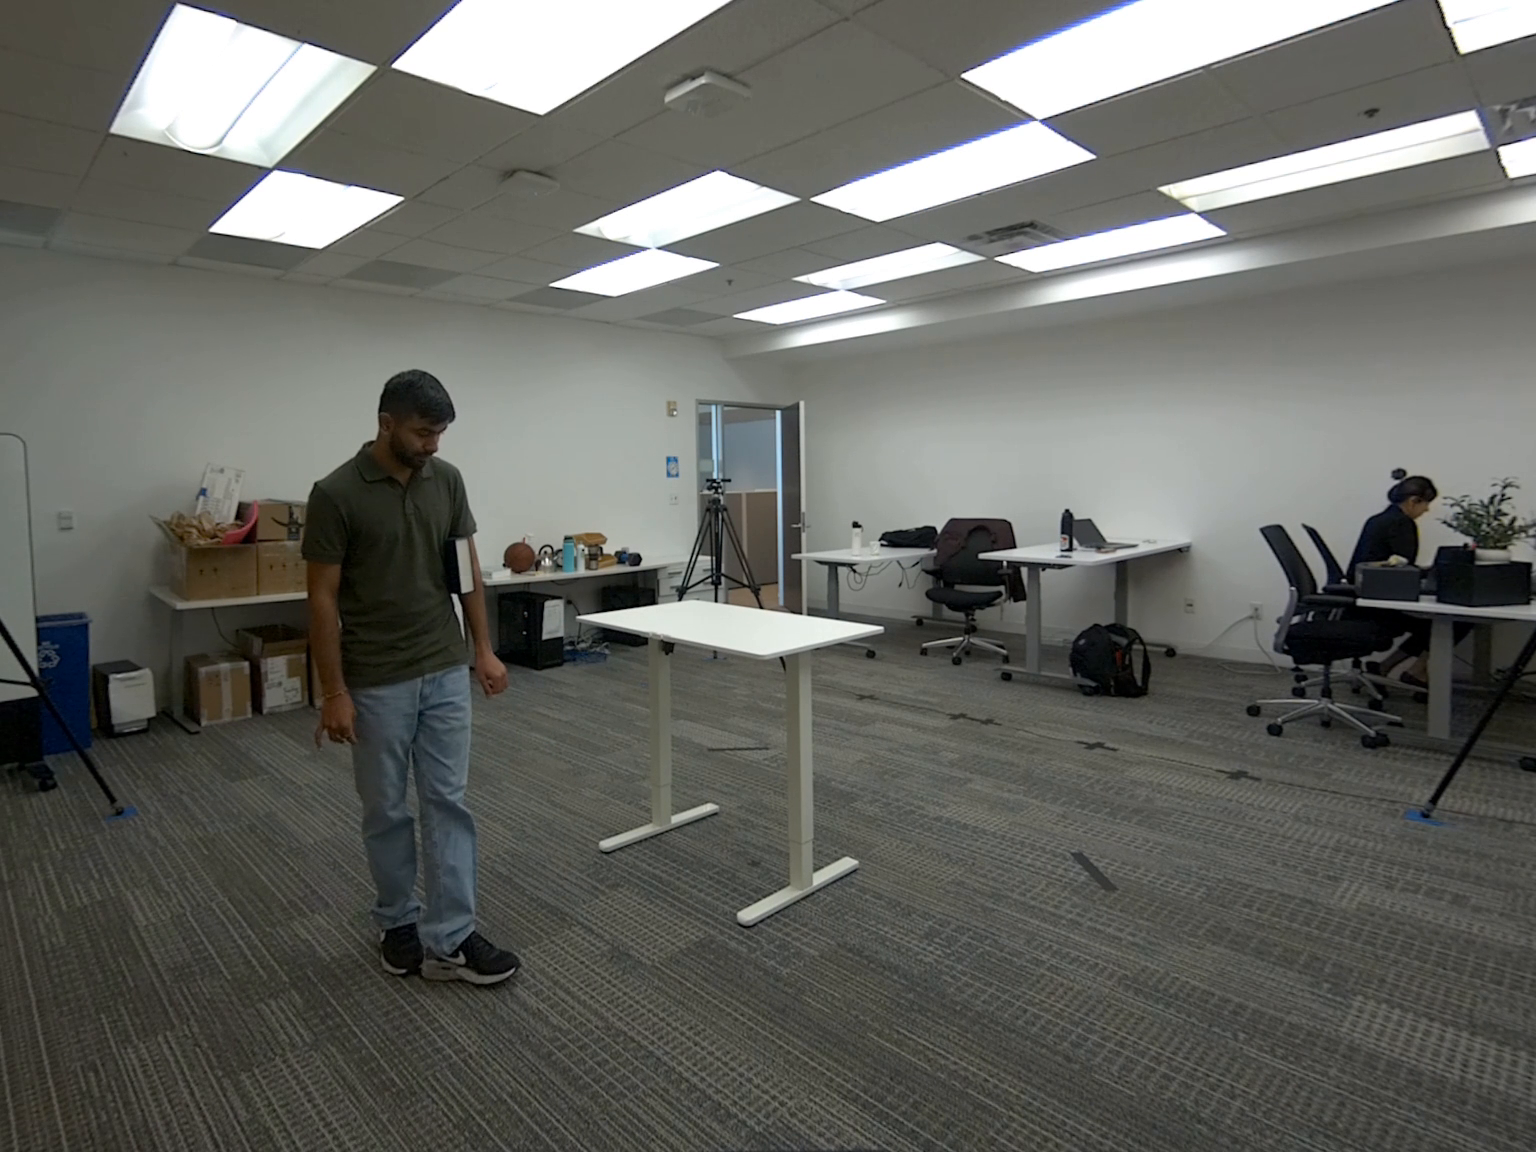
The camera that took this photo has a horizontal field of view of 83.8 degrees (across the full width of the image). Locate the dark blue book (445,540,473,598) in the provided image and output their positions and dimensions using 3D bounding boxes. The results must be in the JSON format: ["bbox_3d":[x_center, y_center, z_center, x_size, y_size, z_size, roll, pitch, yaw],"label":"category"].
[{"bbox_3d":[-0.957,-0.031,2.571,0.044,0.162,0.252,-8,7,-37],"label":"dark blue book"}]
